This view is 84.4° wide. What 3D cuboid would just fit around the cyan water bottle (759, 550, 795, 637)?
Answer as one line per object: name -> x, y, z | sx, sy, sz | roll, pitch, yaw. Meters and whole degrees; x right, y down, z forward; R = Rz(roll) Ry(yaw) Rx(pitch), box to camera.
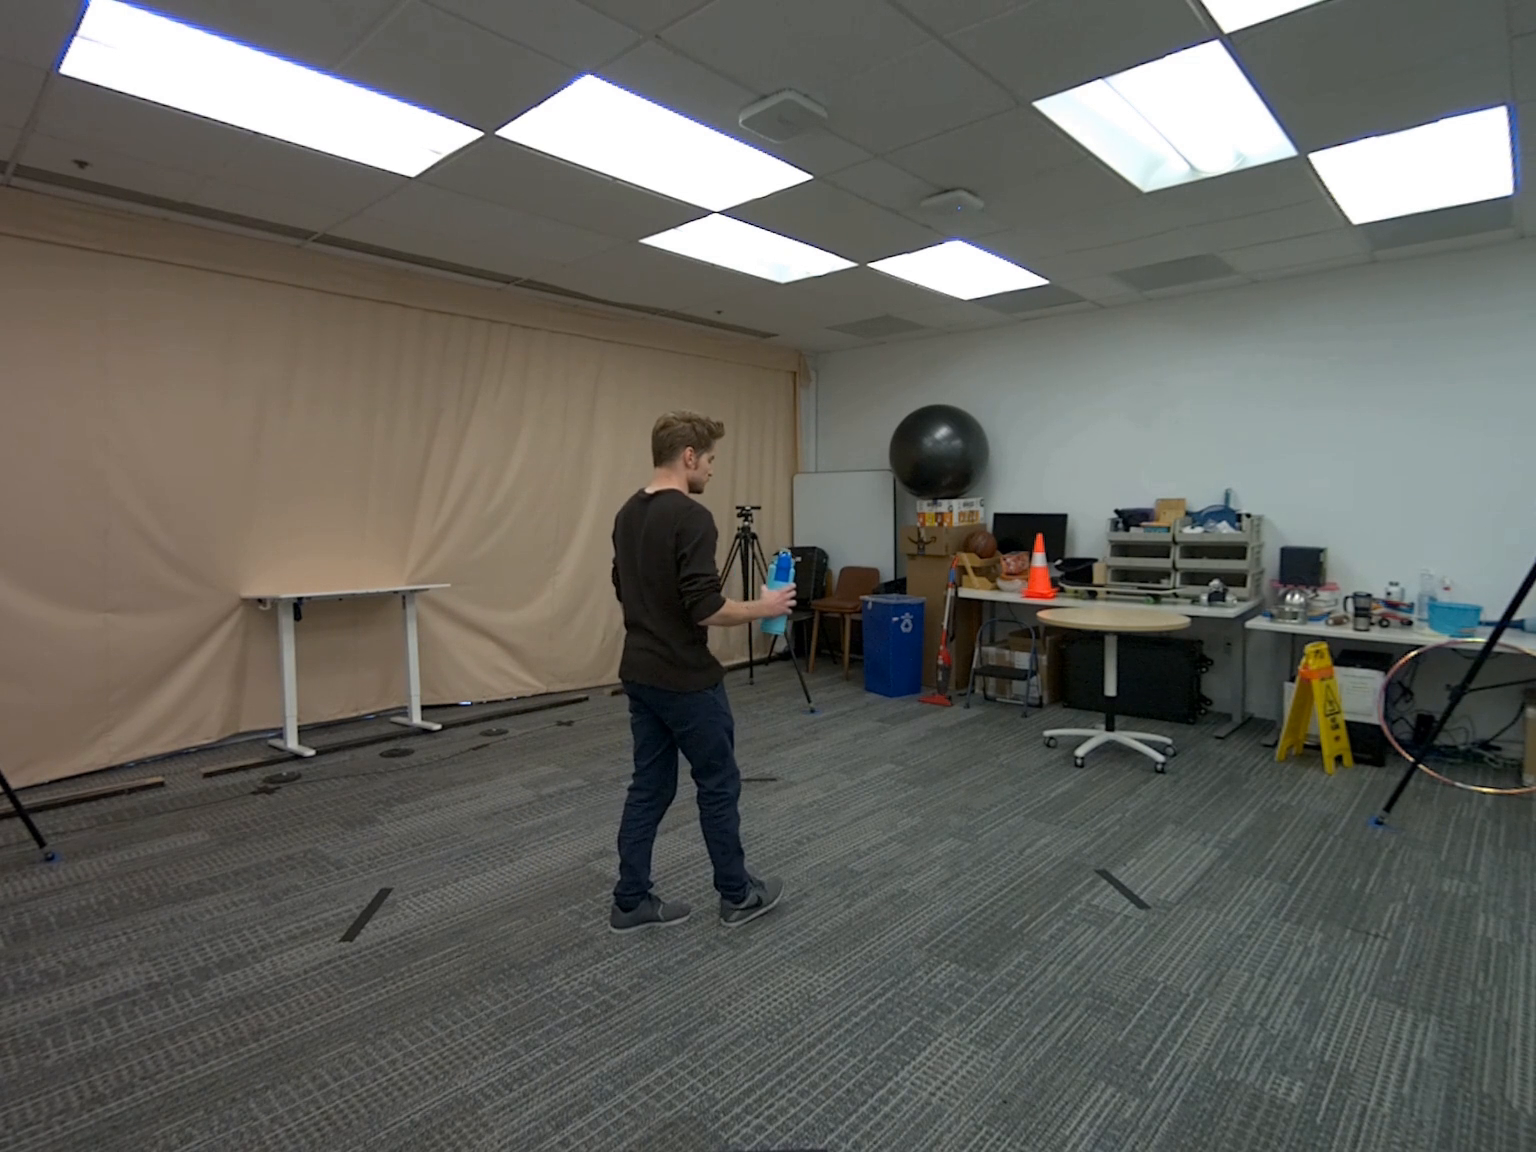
cyan water bottle -> 0.038, 0.048, 2.815 | 0.092, 0.283, 0.092 | 11, 2, -2
